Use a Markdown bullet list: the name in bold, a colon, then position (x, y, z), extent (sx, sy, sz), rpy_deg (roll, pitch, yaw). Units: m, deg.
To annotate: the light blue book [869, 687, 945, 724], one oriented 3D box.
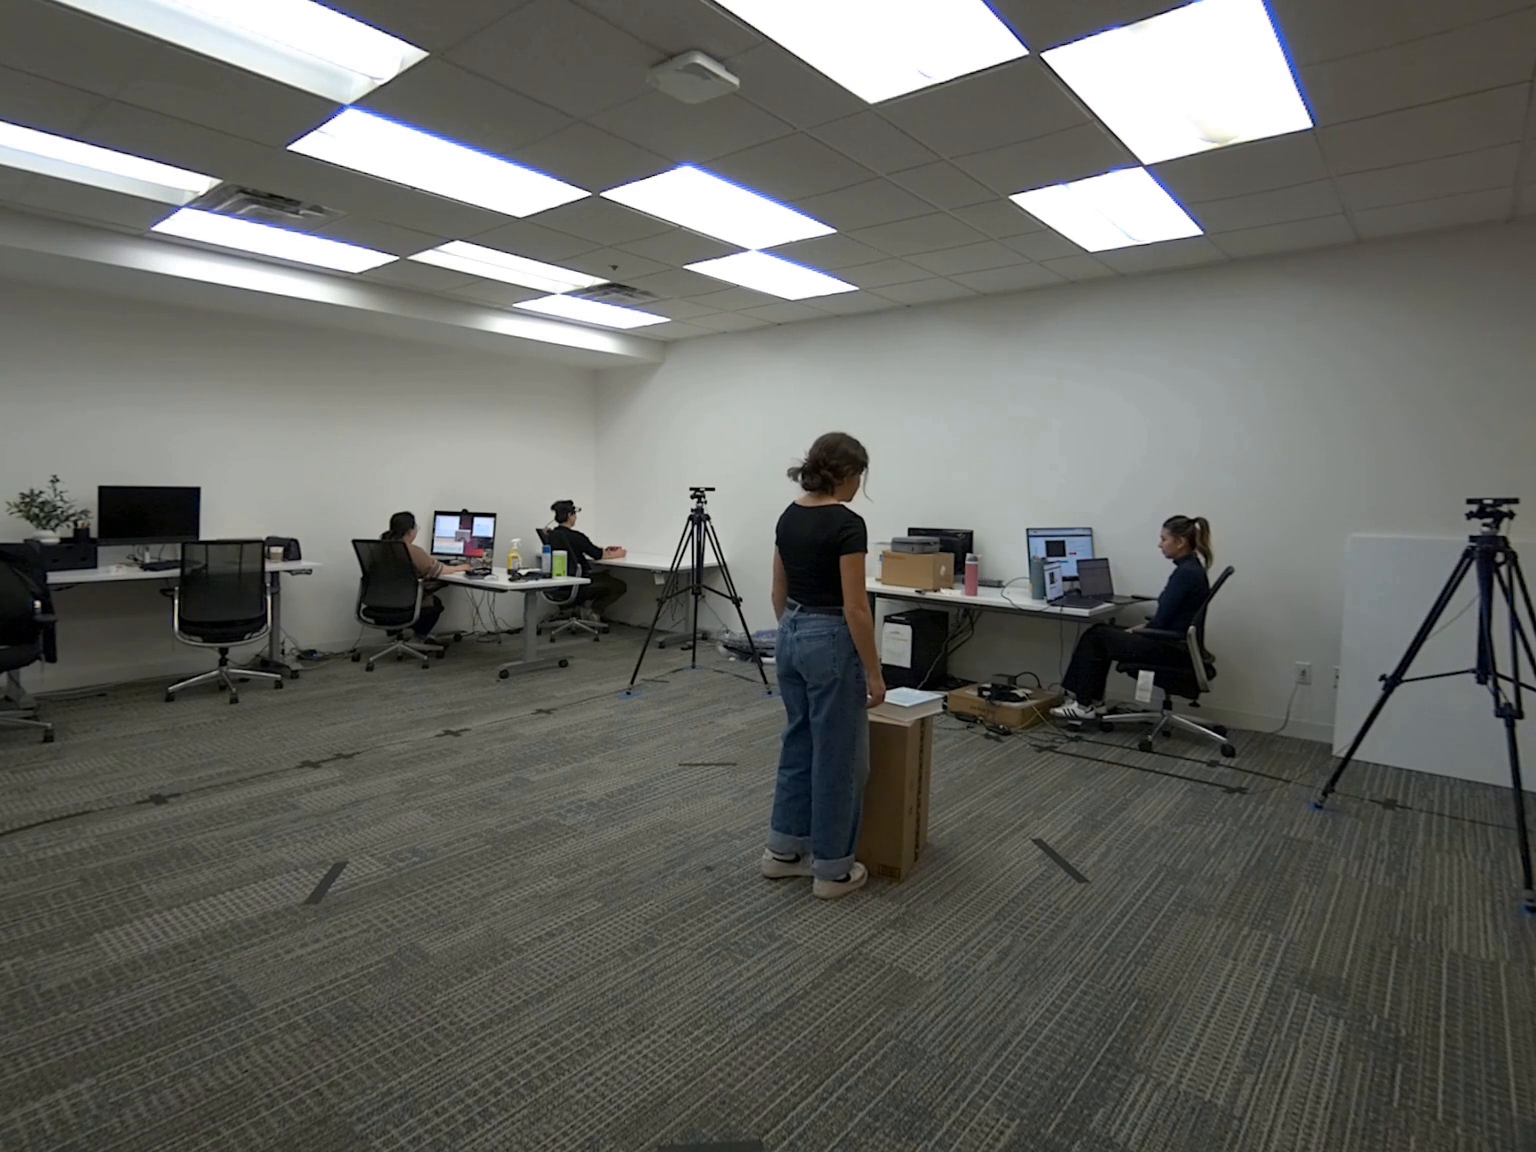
- **light blue book**: position (0.507, 0.480, 3.223), extent (0.198, 0.059, 0.253), rpy_deg (10, 10, 39)
